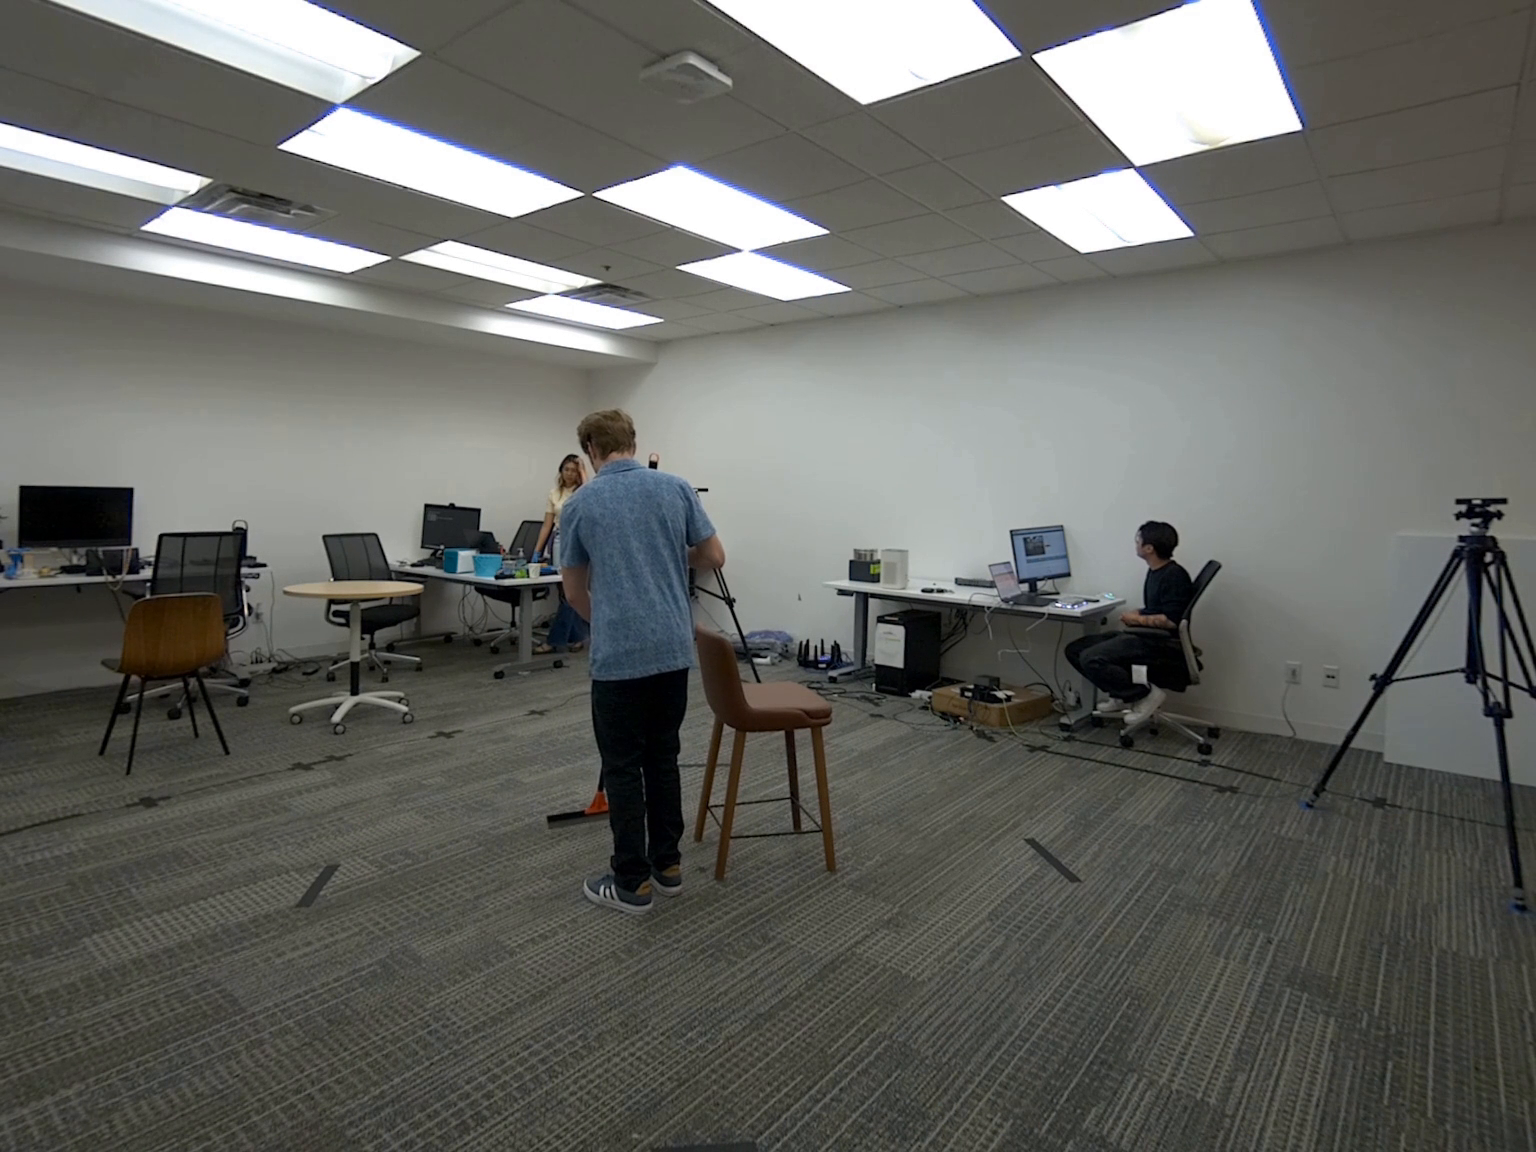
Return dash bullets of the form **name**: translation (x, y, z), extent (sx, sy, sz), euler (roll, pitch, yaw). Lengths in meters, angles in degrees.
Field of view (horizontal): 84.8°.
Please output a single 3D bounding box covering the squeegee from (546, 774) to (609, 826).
- **squeegee**: translation (-0.587, 0.273, 3.283), extent (0.425, 1.520, 0.055), euler (1, 18, -32)
